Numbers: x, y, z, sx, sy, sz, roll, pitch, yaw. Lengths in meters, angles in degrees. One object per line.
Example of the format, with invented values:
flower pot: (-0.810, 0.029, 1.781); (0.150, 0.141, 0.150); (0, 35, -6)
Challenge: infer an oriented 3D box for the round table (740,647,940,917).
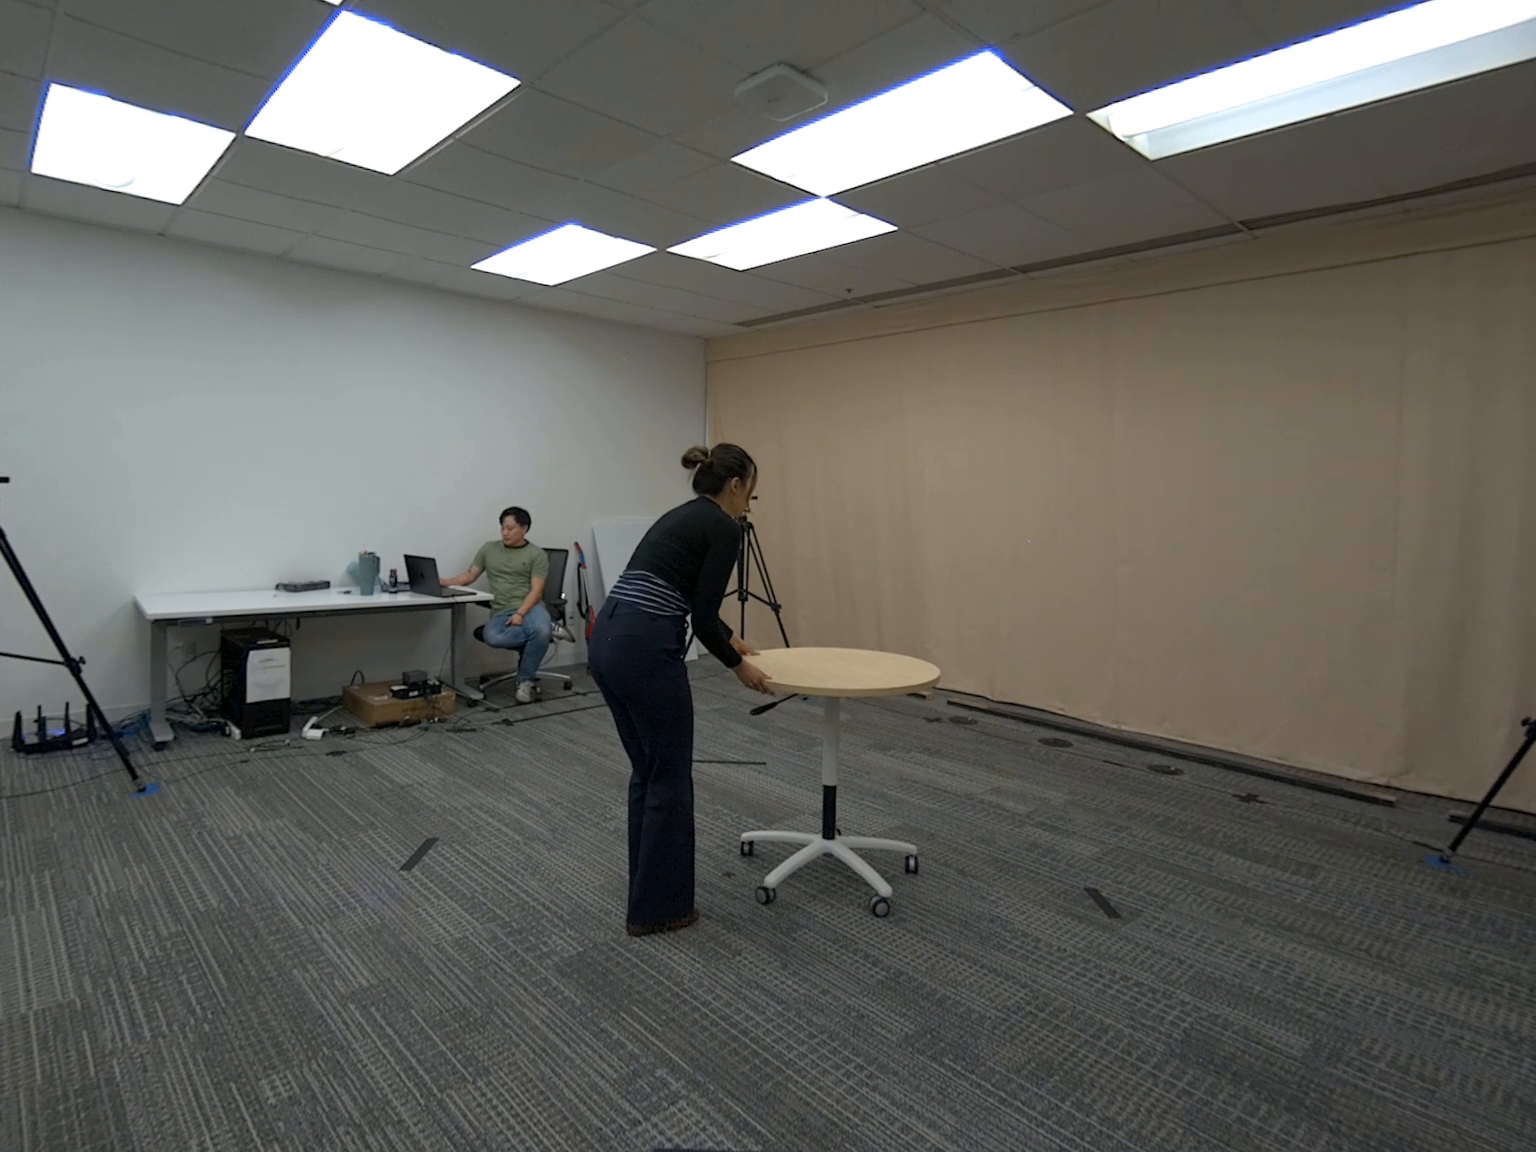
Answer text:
round table: (0.218, 0.722, 3.106); (0.763, 0.792, 0.766); (1, 4, -1)
